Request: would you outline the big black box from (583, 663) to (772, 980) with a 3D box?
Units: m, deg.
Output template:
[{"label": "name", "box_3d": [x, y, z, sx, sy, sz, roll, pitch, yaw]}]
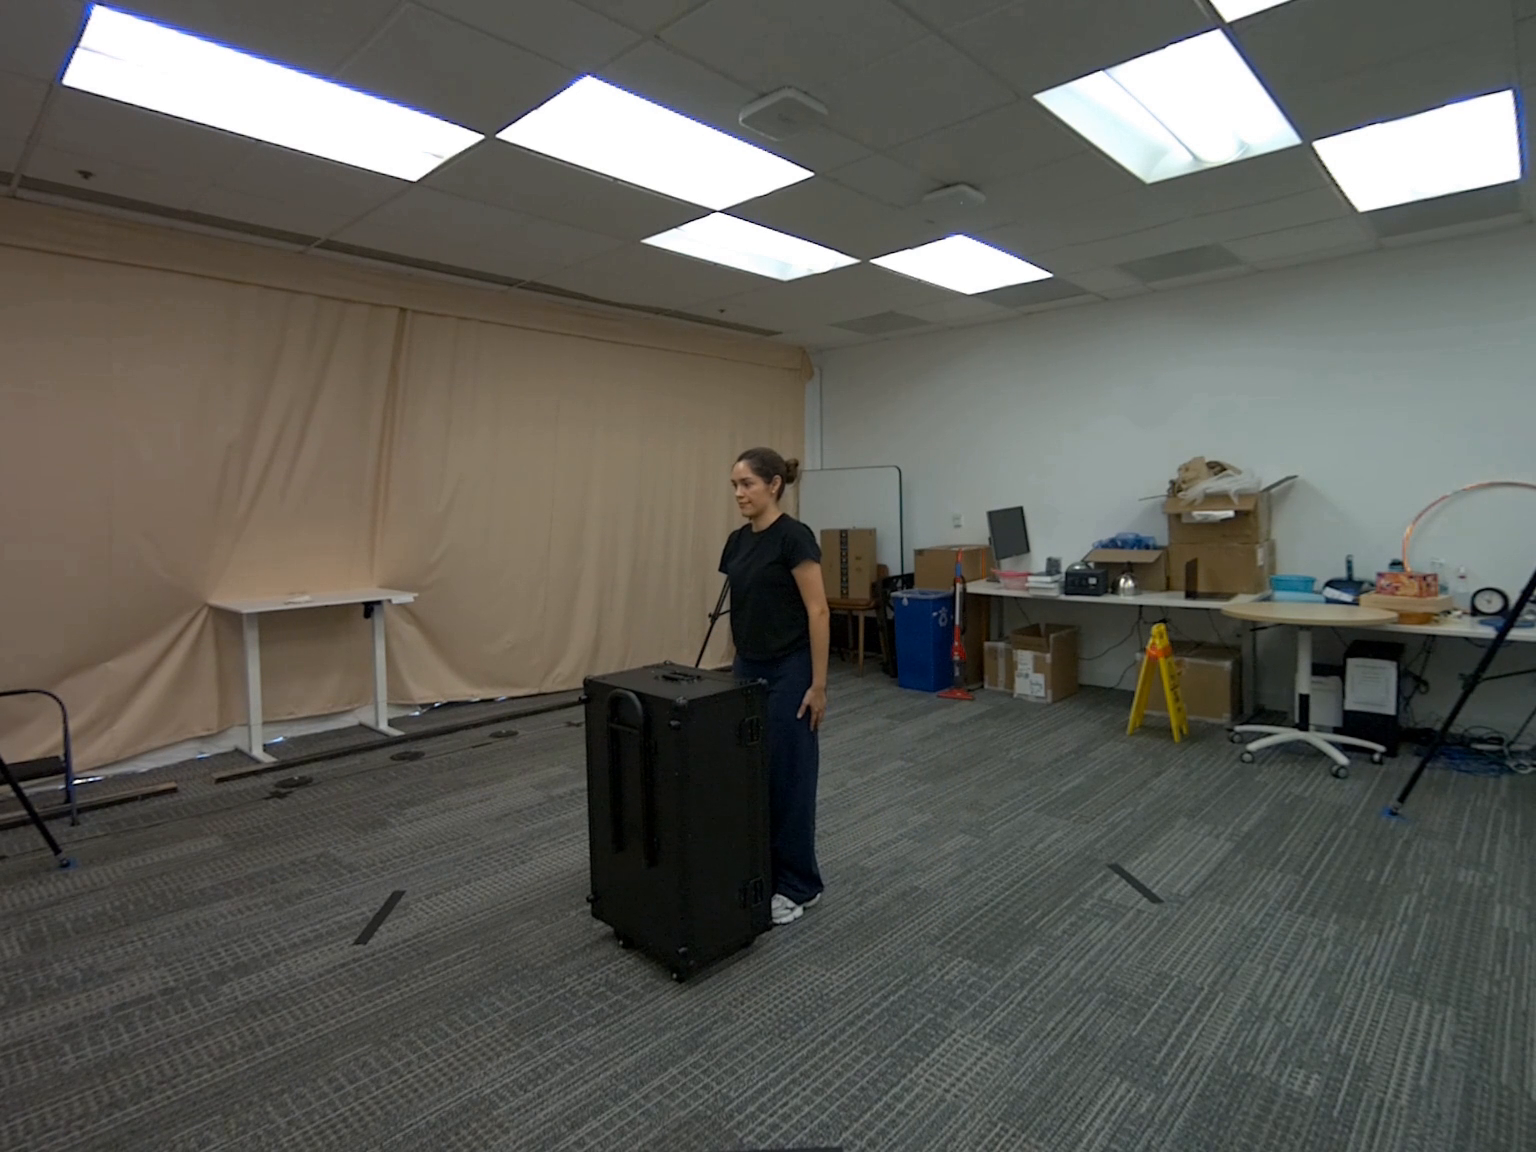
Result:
[{"label": "big black box", "box_3d": [-0.279, 0.753, 2.647, 0.384, 0.859, 0.538, -6, 6, -43]}]
